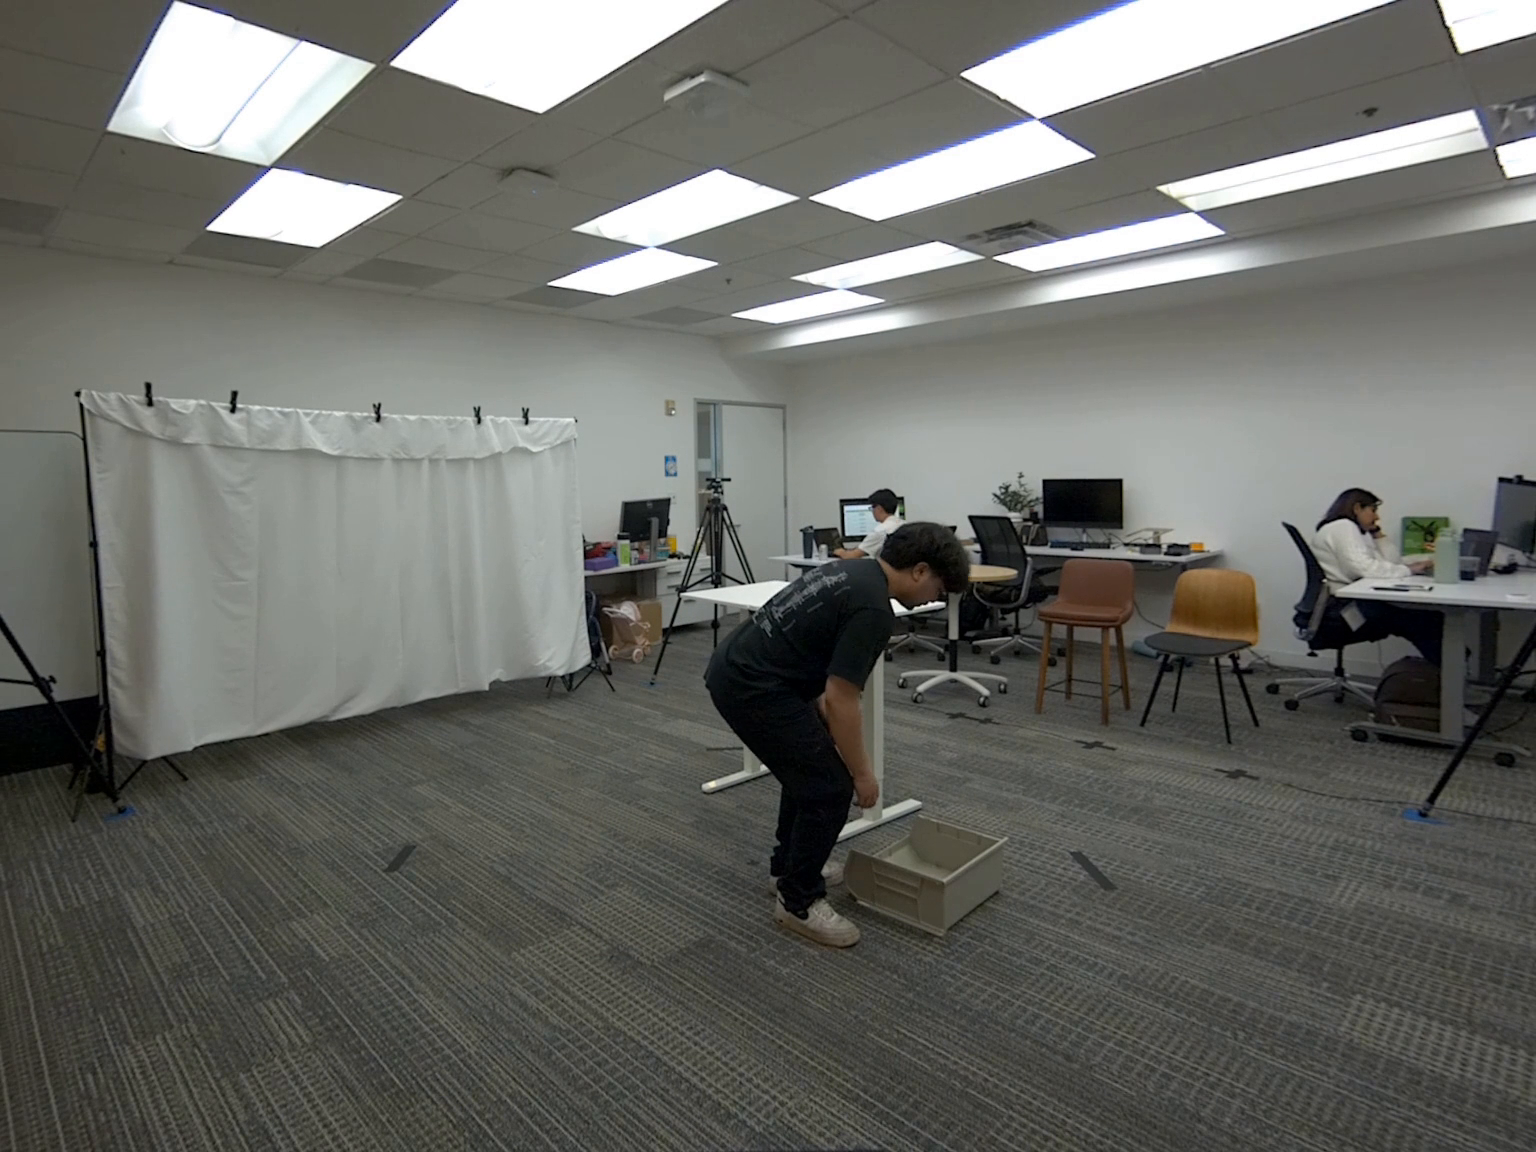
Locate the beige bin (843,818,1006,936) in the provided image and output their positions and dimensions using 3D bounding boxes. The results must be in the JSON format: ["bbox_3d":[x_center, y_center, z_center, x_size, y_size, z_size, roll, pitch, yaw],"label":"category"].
[{"bbox_3d":[0.523,0.972,2.842,0.389,0.188,0.411,5,8,41],"label":"beige bin"}]
